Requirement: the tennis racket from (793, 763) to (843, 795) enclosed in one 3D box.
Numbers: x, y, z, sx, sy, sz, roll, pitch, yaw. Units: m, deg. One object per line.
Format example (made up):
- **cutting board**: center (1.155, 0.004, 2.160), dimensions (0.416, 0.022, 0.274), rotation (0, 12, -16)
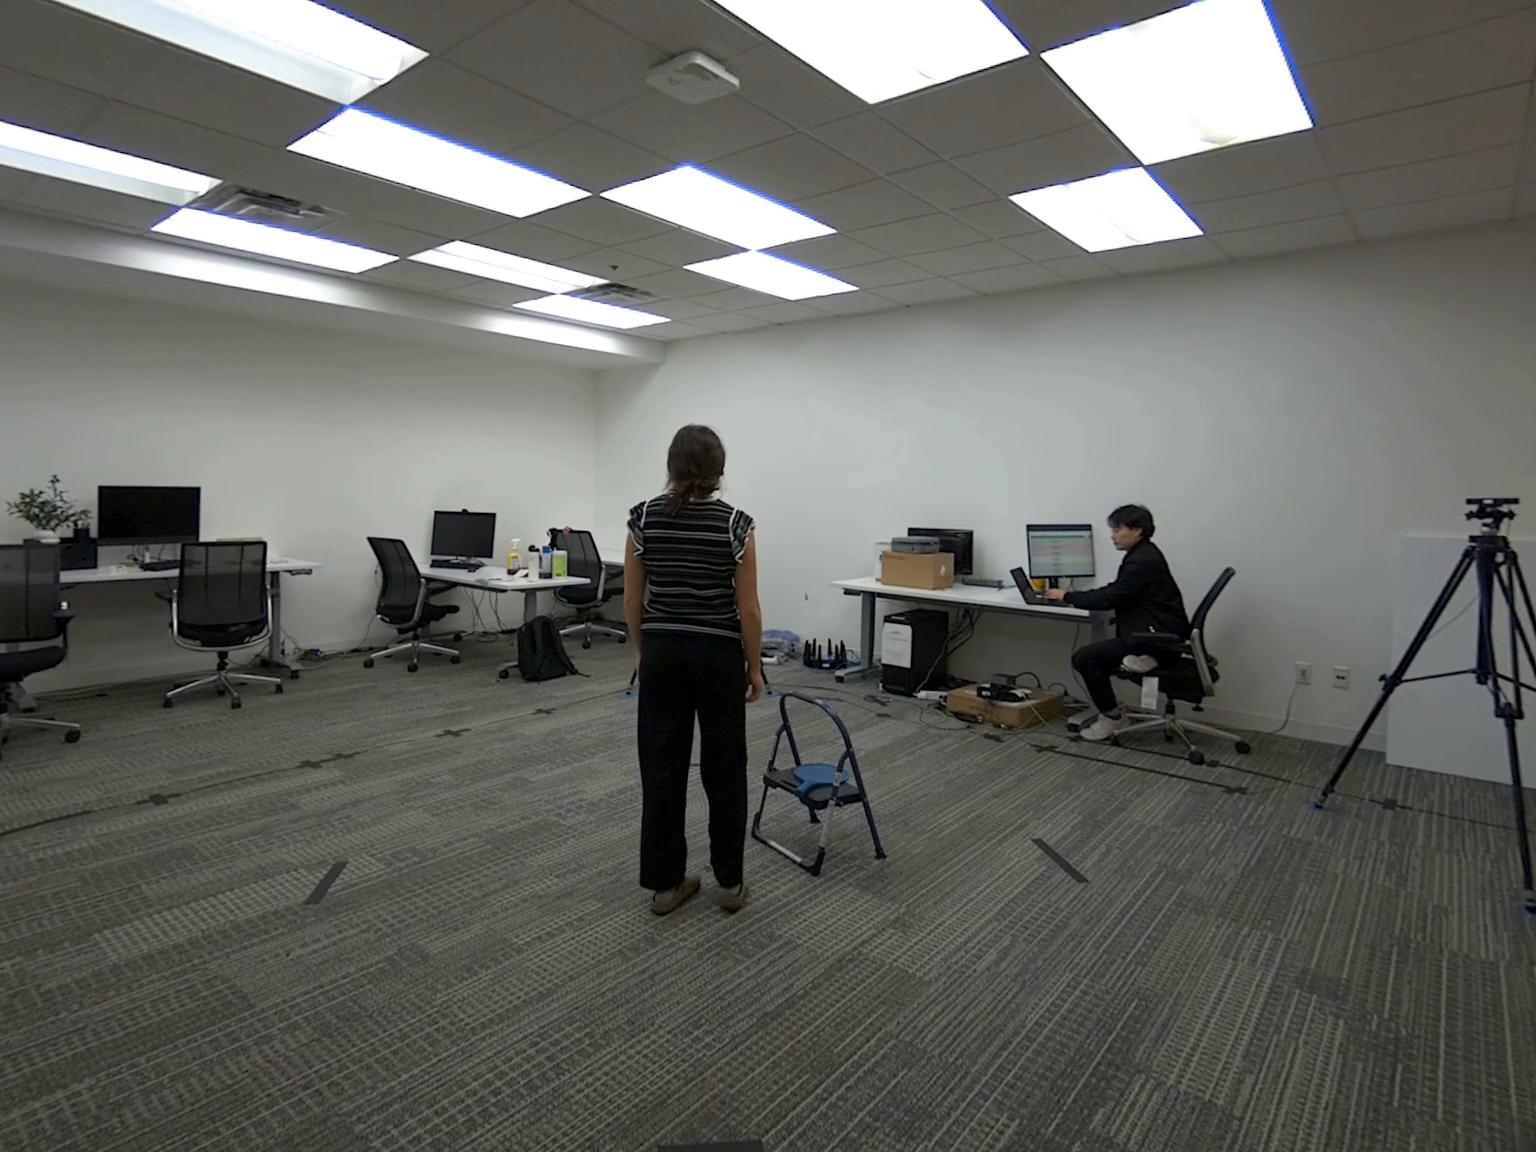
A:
- **tennis racket**: center (0.175, 0.786, 3.290), dimensions (0.218, 0.032, 0.426), rotation (5, 4, 14)
